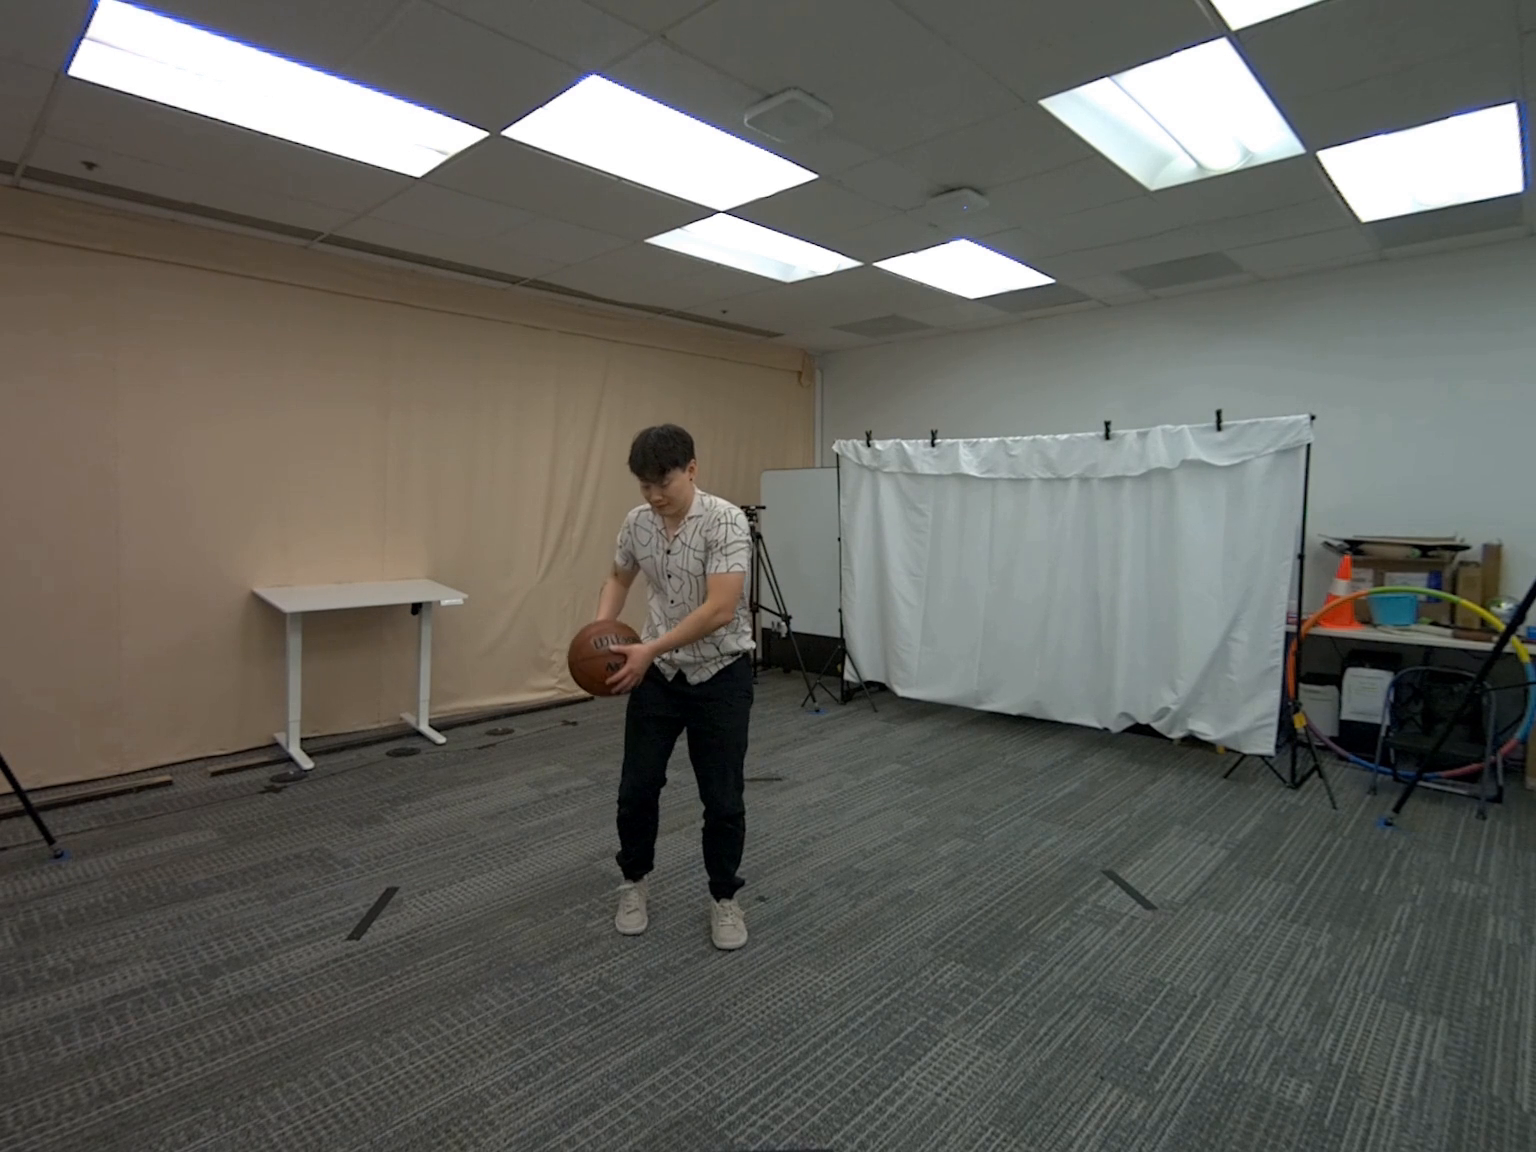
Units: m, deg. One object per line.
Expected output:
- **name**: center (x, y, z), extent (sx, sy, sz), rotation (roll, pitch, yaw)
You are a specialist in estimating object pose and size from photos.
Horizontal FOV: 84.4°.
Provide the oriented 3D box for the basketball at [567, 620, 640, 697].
- **basketball**: center (-0.478, 0.260, 2.615), extent (0.236, 0.235, 0.237), rotation (0, 4, -2)
